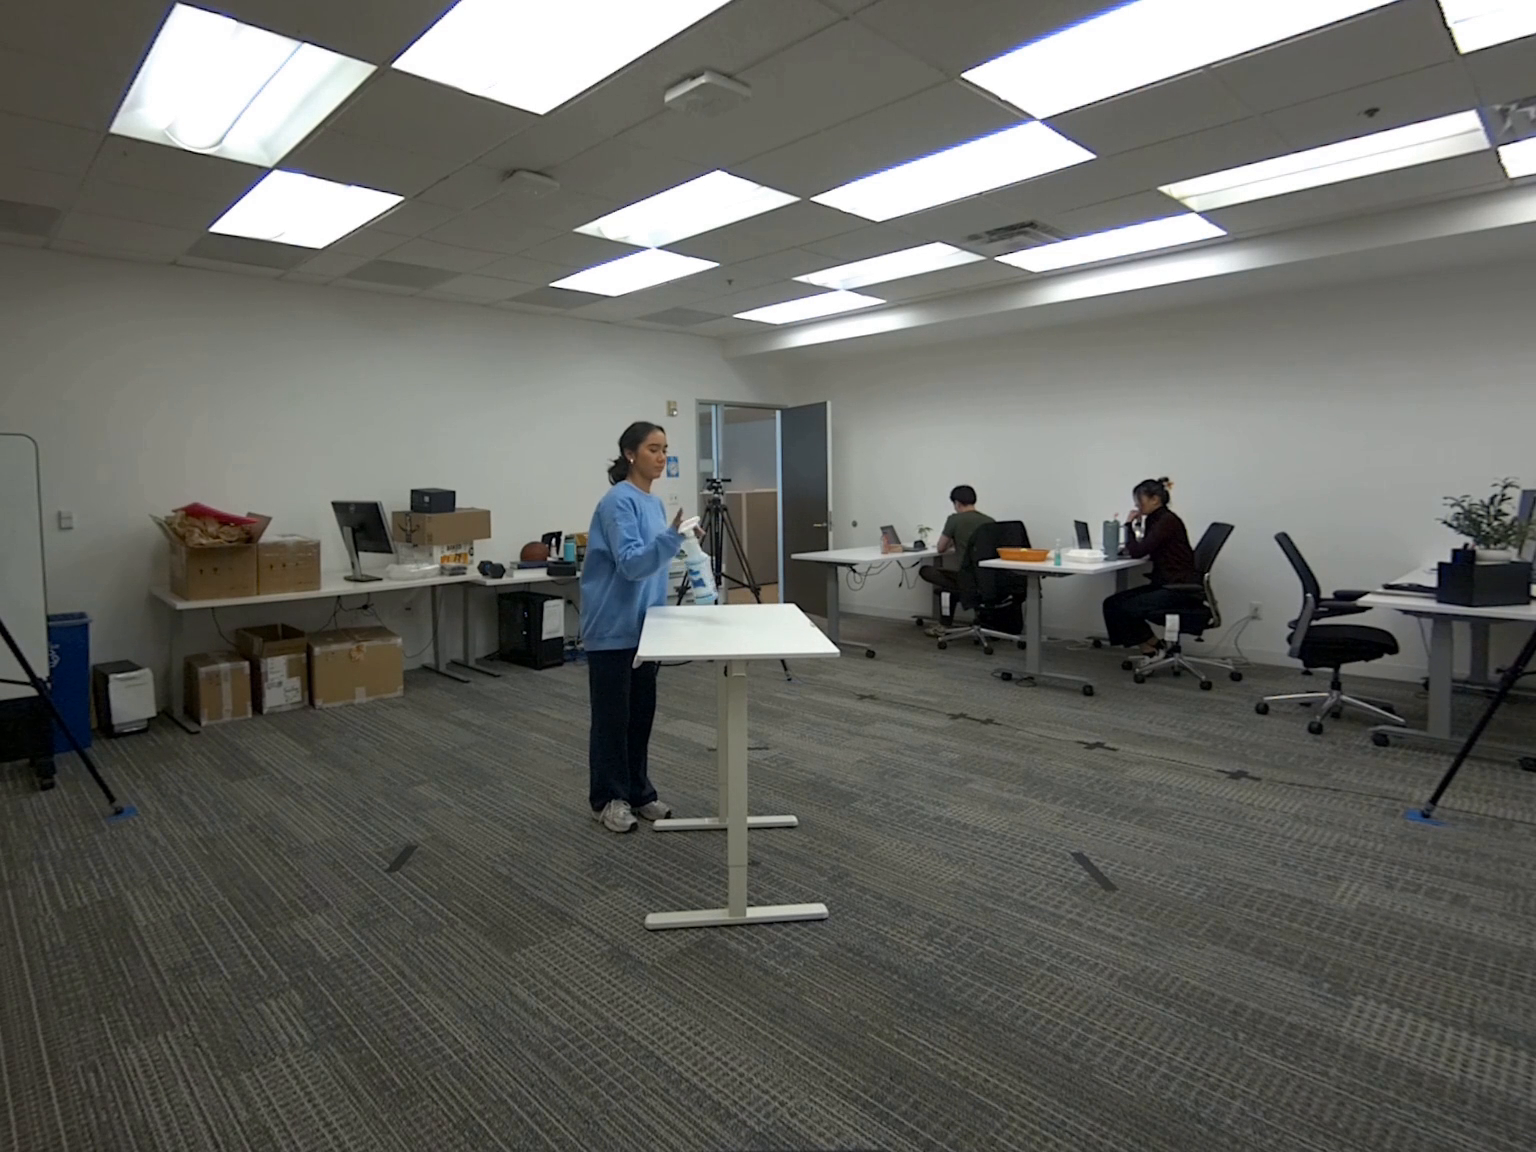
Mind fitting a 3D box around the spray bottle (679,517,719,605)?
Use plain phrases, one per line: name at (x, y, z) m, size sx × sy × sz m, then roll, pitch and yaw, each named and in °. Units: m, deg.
spray bottle at (-0.250, -0.053, 3.017) m, size 0.090 × 0.294 × 0.088 m, roll -12°, pitch 12°, yaw -3°
